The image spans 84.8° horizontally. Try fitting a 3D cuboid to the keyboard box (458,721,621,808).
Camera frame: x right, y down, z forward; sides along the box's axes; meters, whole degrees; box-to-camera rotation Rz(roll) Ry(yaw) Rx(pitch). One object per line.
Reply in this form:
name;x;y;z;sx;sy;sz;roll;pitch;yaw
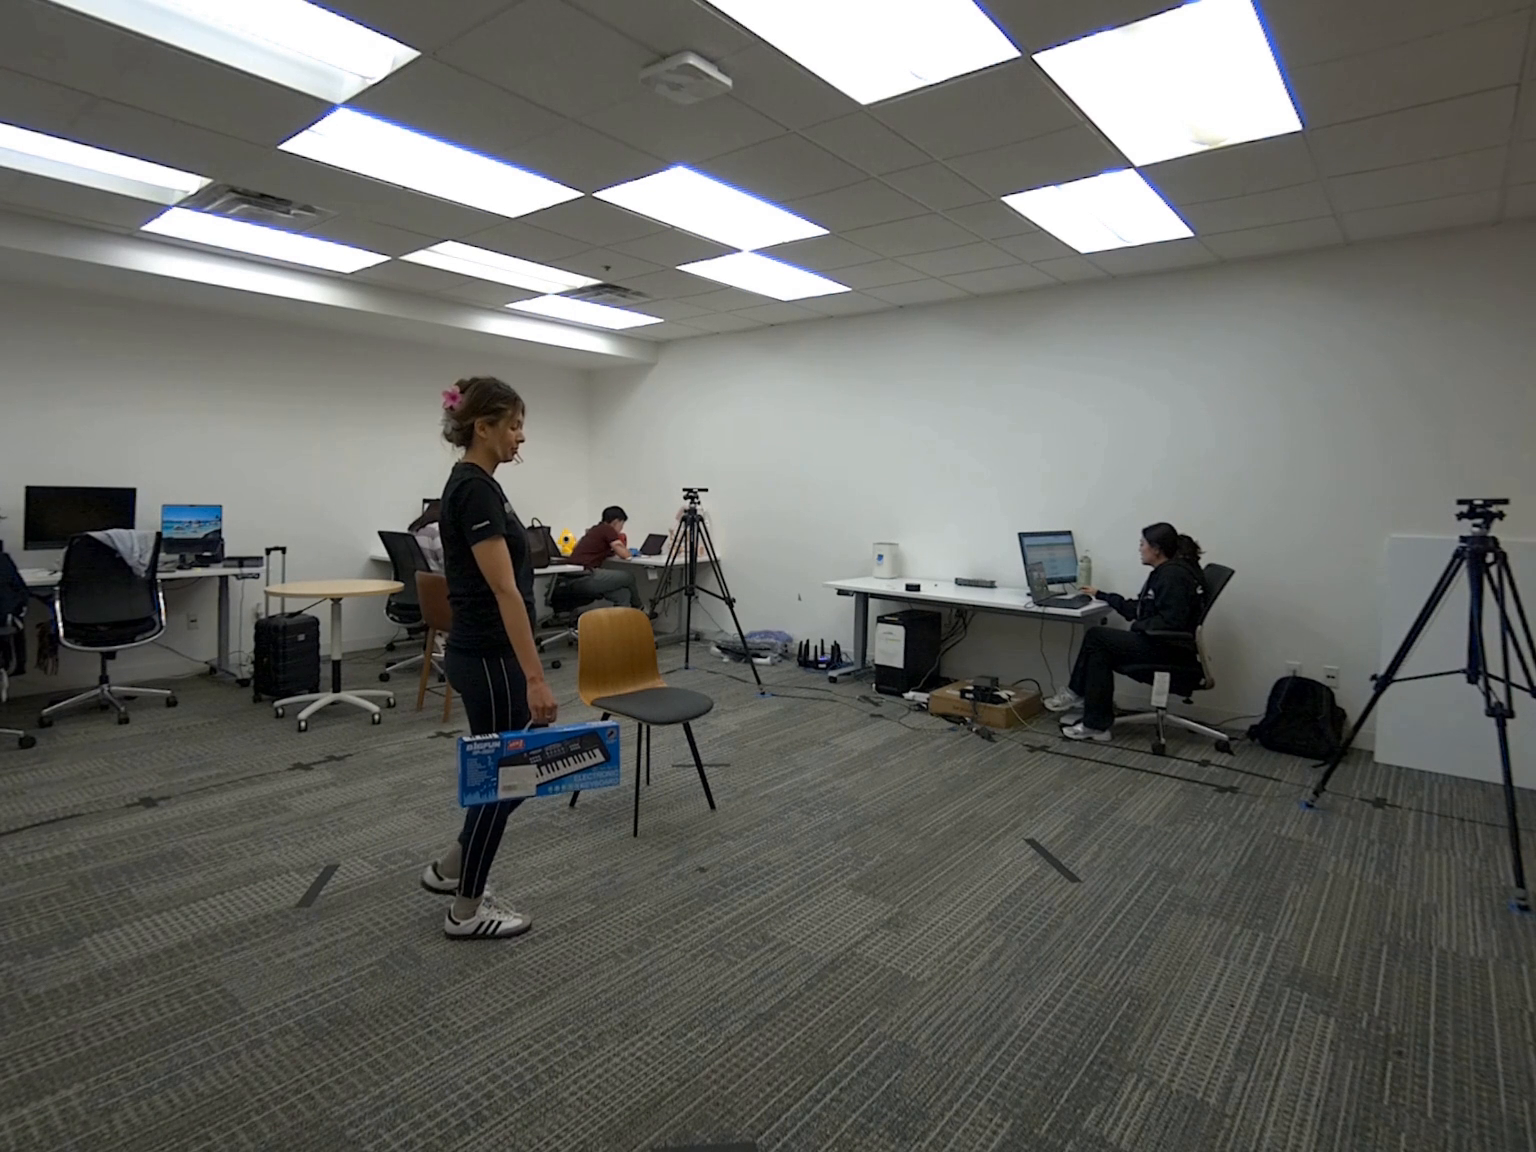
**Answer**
keyboard box;-0.629;0.507;2.324;0.426;0.176;0.060;-1;0;-27
